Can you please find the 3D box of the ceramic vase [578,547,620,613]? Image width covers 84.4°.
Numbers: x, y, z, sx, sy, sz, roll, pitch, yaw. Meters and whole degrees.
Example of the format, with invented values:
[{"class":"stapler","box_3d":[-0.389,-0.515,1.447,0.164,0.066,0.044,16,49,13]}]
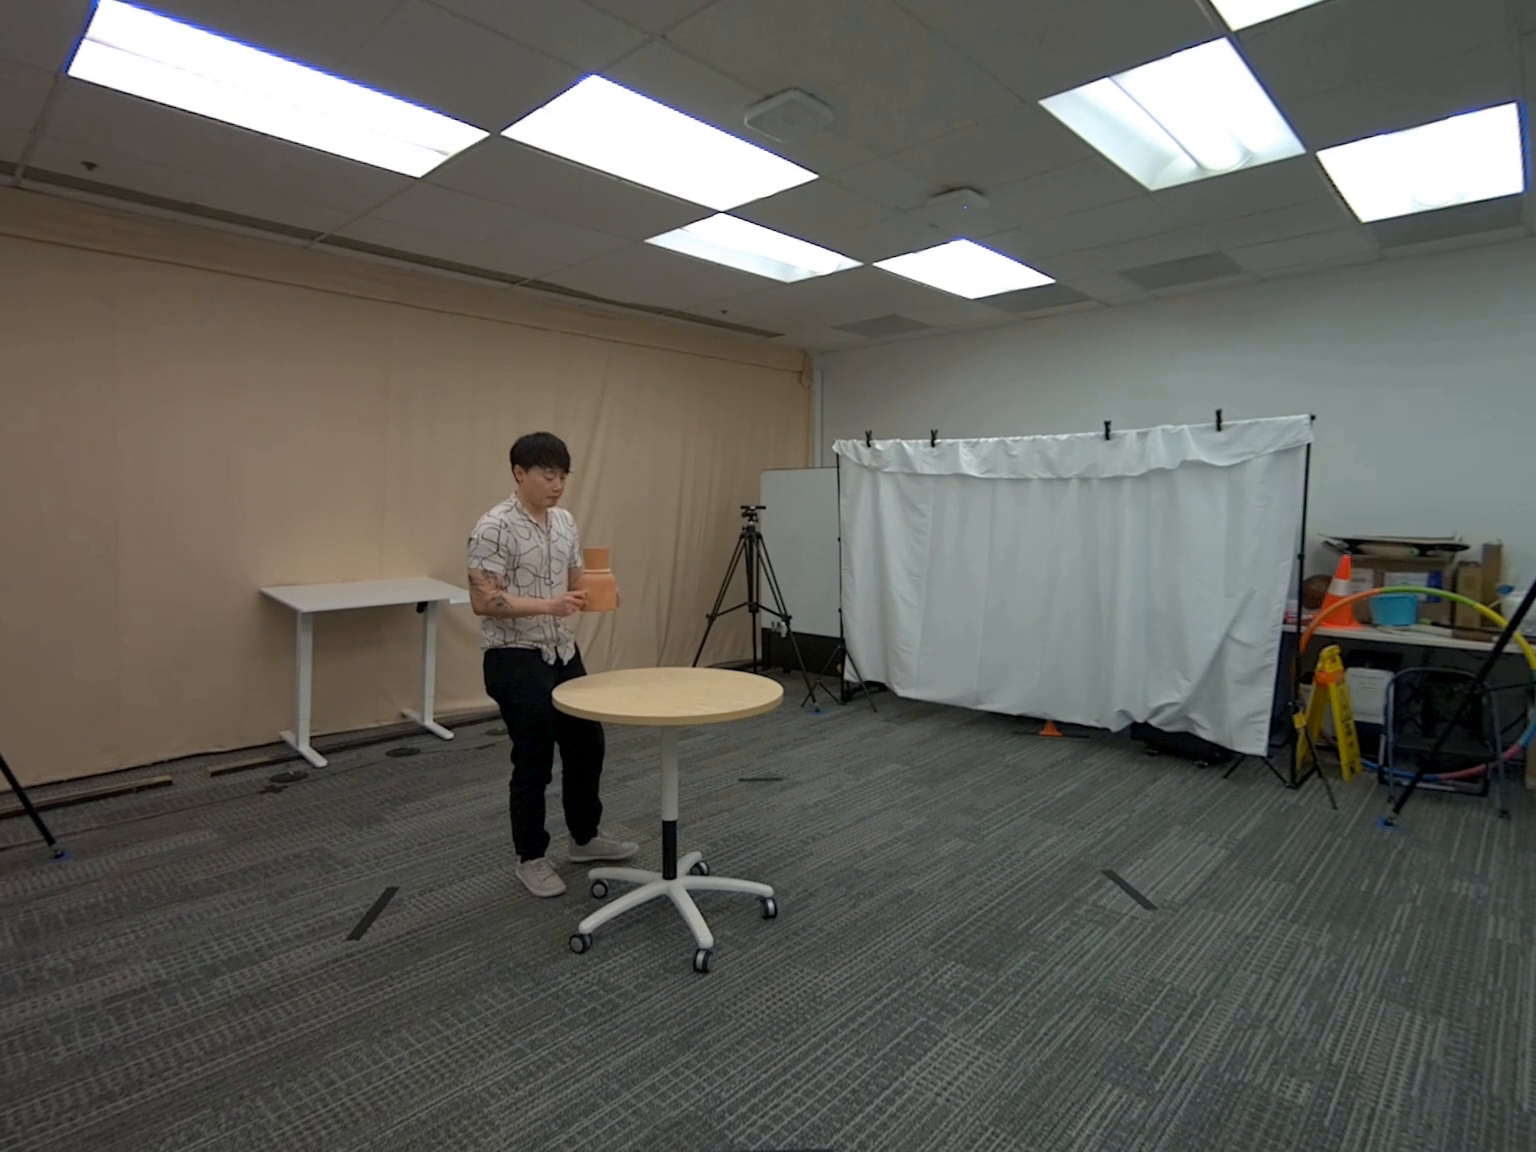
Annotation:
[{"class":"ceramic vase","box_3d":[-0.609,0.010,2.963,0.134,0.219,0.160,-2,1,-7]}]
